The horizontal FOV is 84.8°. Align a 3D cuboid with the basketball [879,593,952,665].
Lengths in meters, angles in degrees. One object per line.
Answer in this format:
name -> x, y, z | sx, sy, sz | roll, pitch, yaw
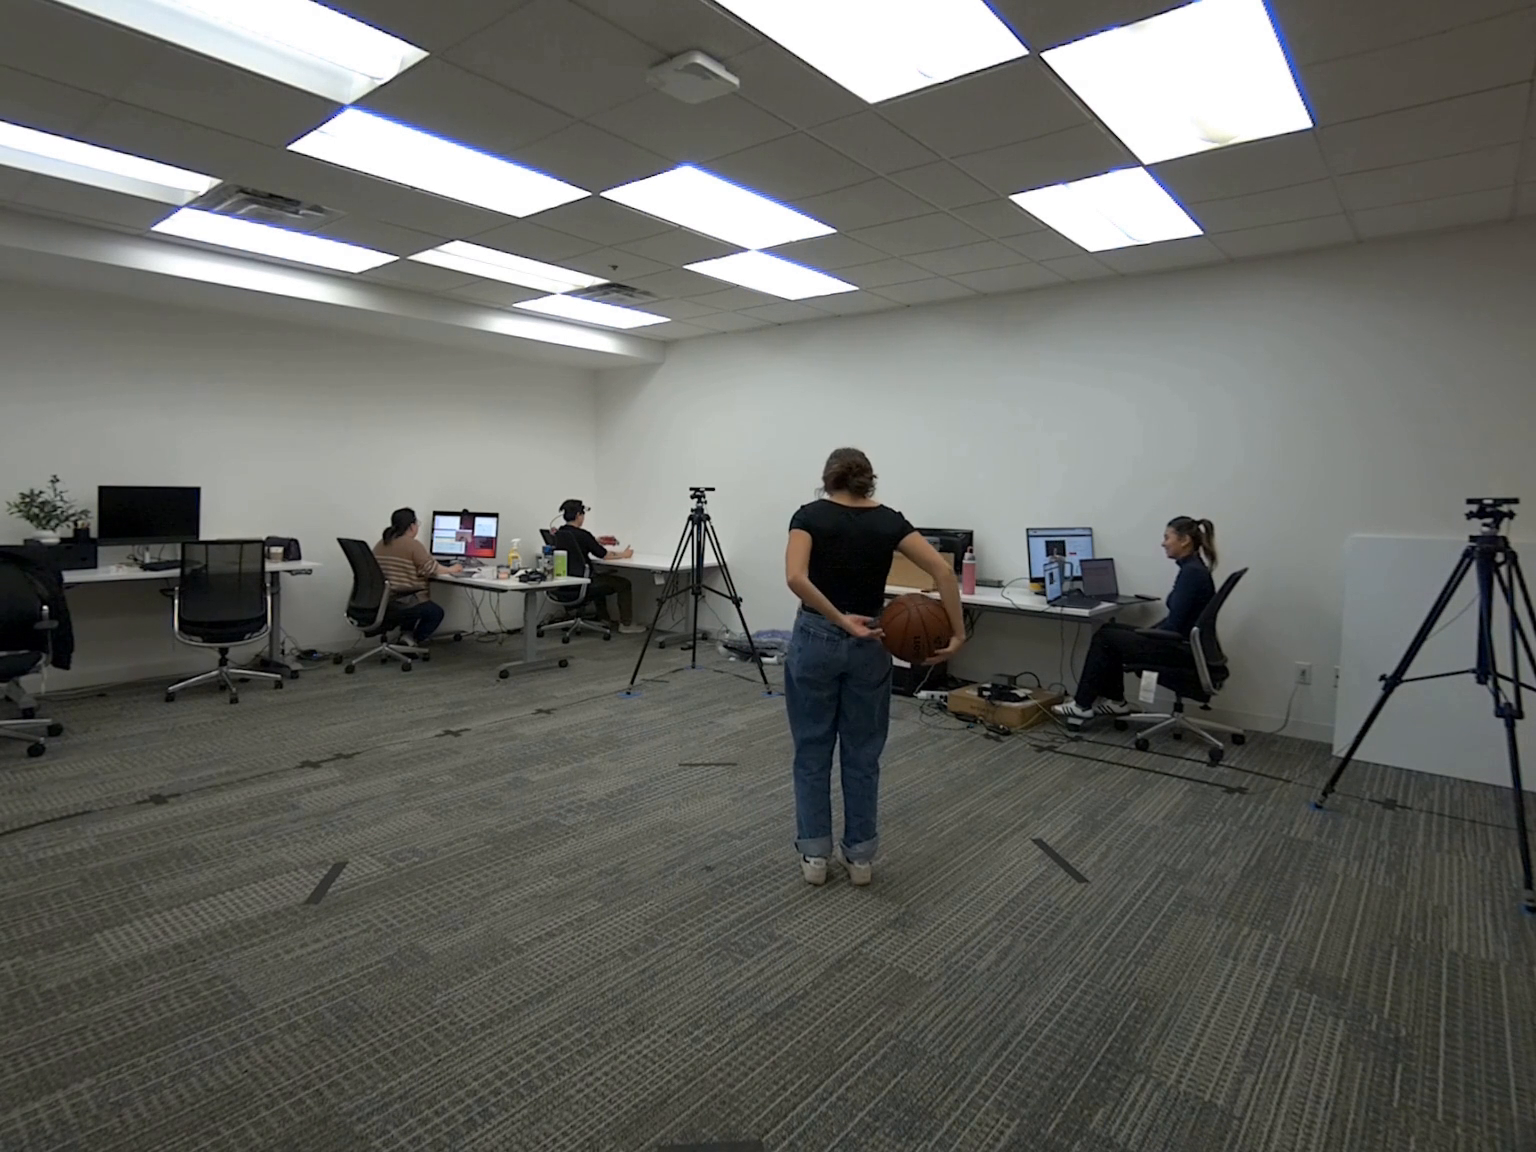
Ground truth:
basketball -> 0.483, 0.171, 2.905 | 0.235, 0.235, 0.237 | 1, 4, -2
